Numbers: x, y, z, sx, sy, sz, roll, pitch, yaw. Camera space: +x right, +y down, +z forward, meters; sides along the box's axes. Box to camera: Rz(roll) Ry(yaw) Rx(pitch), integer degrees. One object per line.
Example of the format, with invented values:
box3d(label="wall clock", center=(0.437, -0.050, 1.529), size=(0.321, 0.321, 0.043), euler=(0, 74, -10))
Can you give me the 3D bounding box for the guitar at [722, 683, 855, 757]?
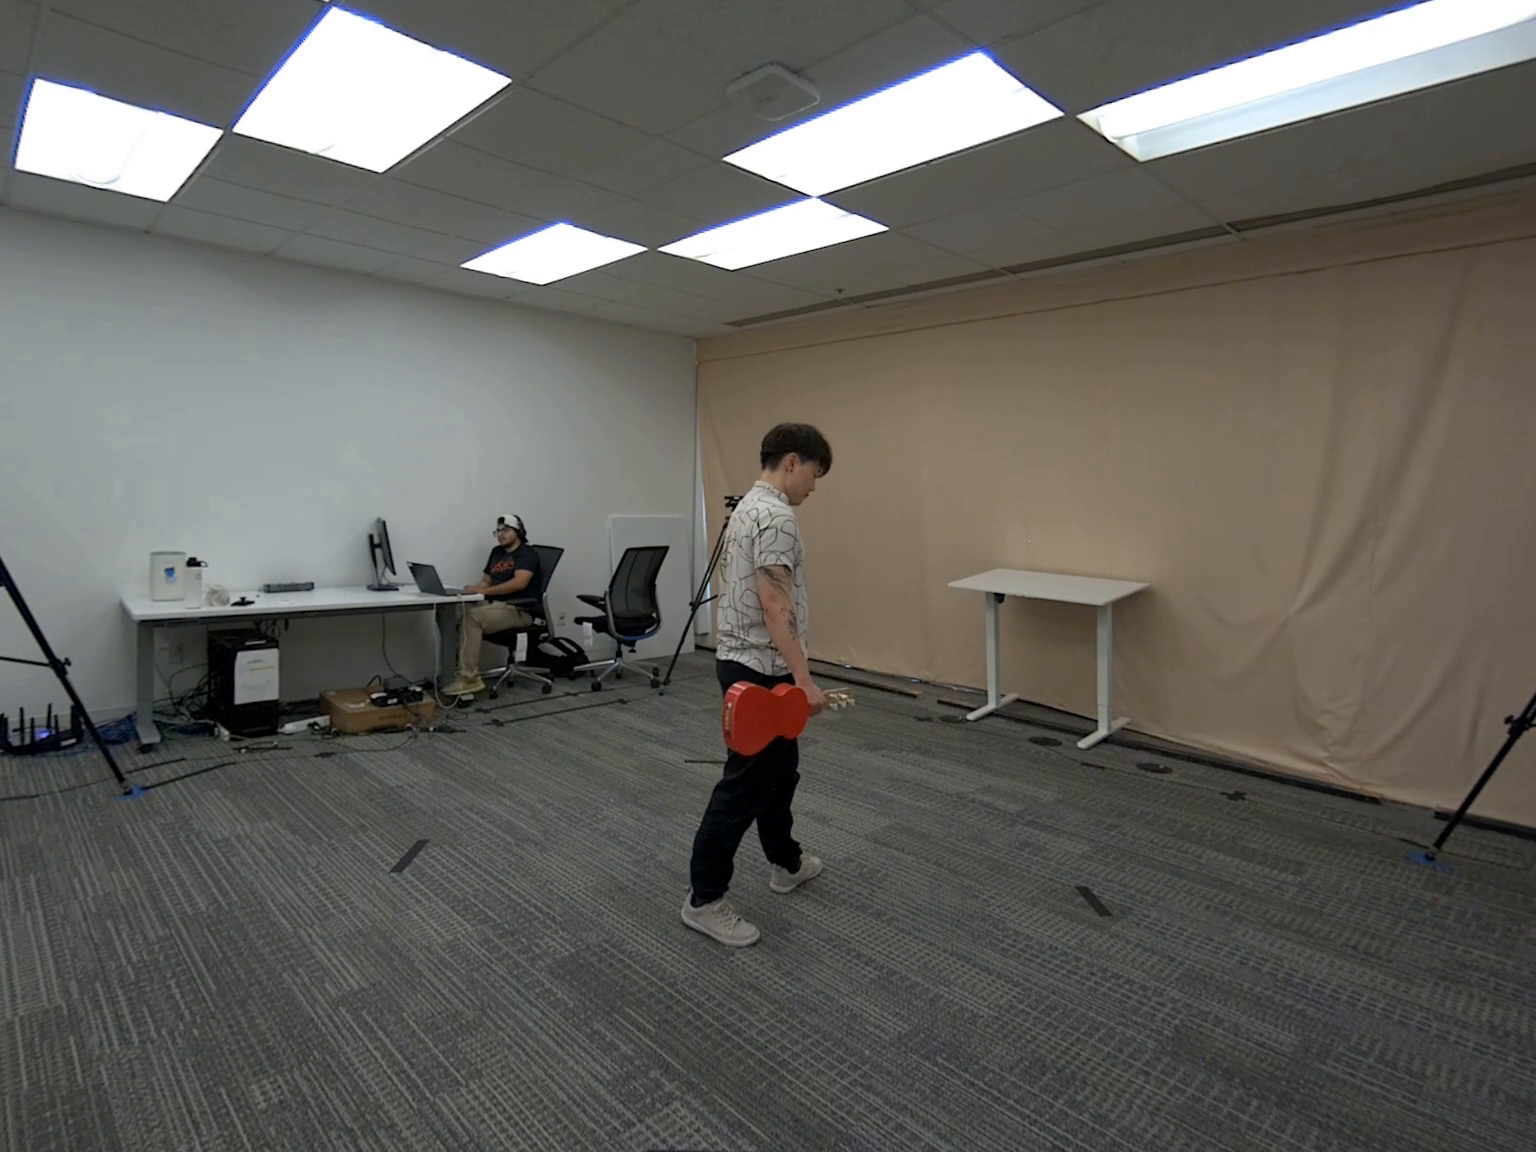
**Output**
box3d(label="guitar", center=(0.074, 0.358, 2.450), size=(0.489, 0.191, 0.072), euler=(-13, 12, -36))
